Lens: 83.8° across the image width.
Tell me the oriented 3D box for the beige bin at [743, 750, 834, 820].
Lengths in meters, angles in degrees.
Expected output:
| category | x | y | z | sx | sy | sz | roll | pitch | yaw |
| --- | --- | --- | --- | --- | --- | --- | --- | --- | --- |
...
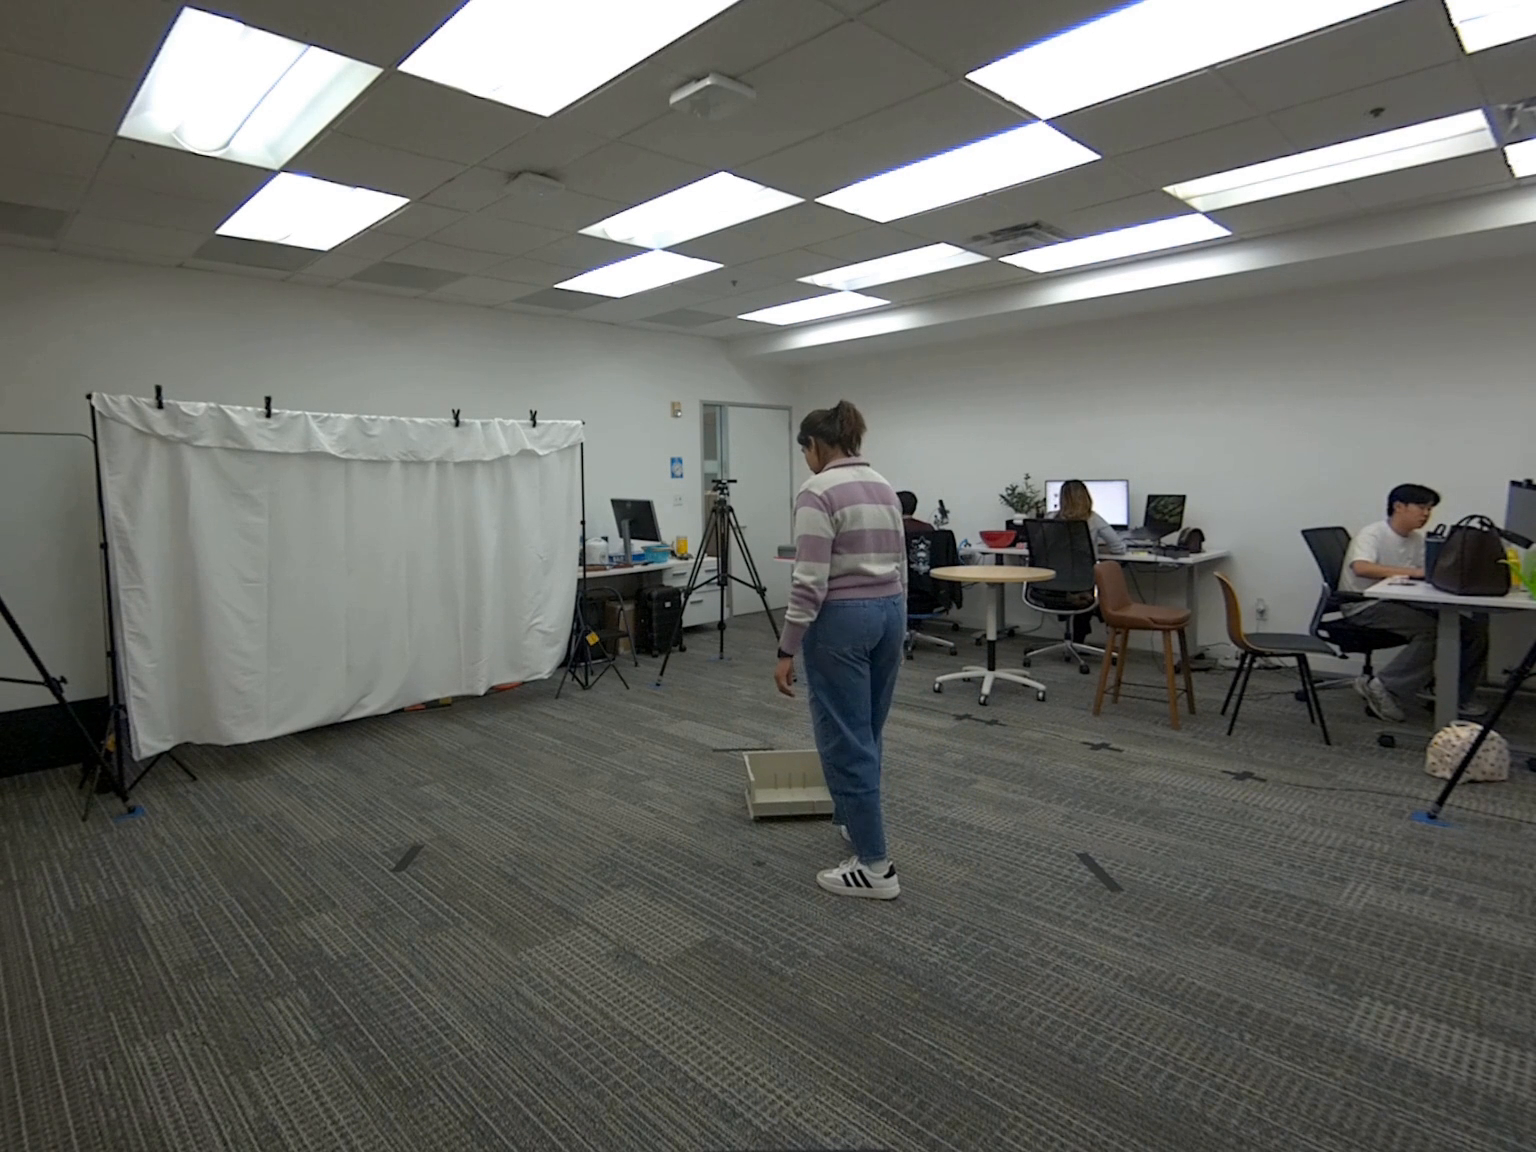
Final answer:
| category | x | y | z | sx | sy | sz | roll | pitch | yaw |
| --- | --- | --- | --- | --- | --- | --- | --- | --- | --- |
| beige bin | 0.118 | 0.898 | 3.663 | 0.420 | 0.188 | 0.380 | -2 | 5 | -5 |
